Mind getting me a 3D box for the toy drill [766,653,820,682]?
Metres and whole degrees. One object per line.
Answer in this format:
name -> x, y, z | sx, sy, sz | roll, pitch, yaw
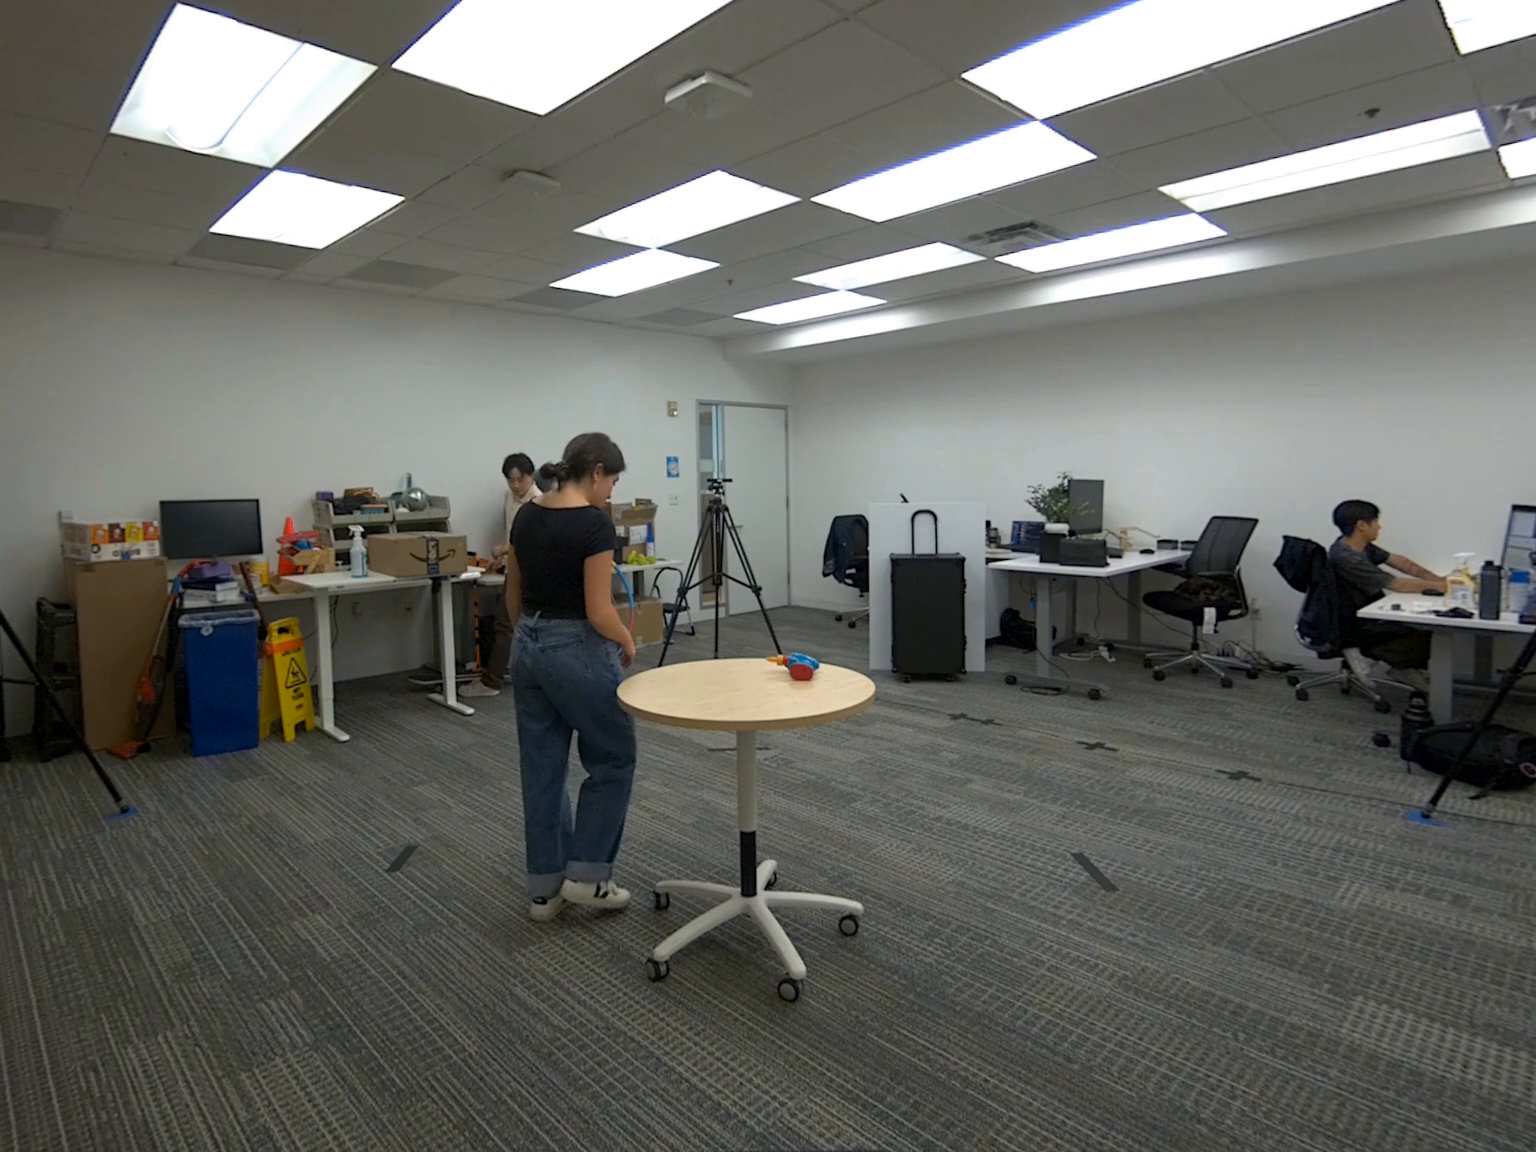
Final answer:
toy drill -> 0.075, 0.276, 2.671 | 0.171, 0.061, 0.145 | 9, 7, 7
